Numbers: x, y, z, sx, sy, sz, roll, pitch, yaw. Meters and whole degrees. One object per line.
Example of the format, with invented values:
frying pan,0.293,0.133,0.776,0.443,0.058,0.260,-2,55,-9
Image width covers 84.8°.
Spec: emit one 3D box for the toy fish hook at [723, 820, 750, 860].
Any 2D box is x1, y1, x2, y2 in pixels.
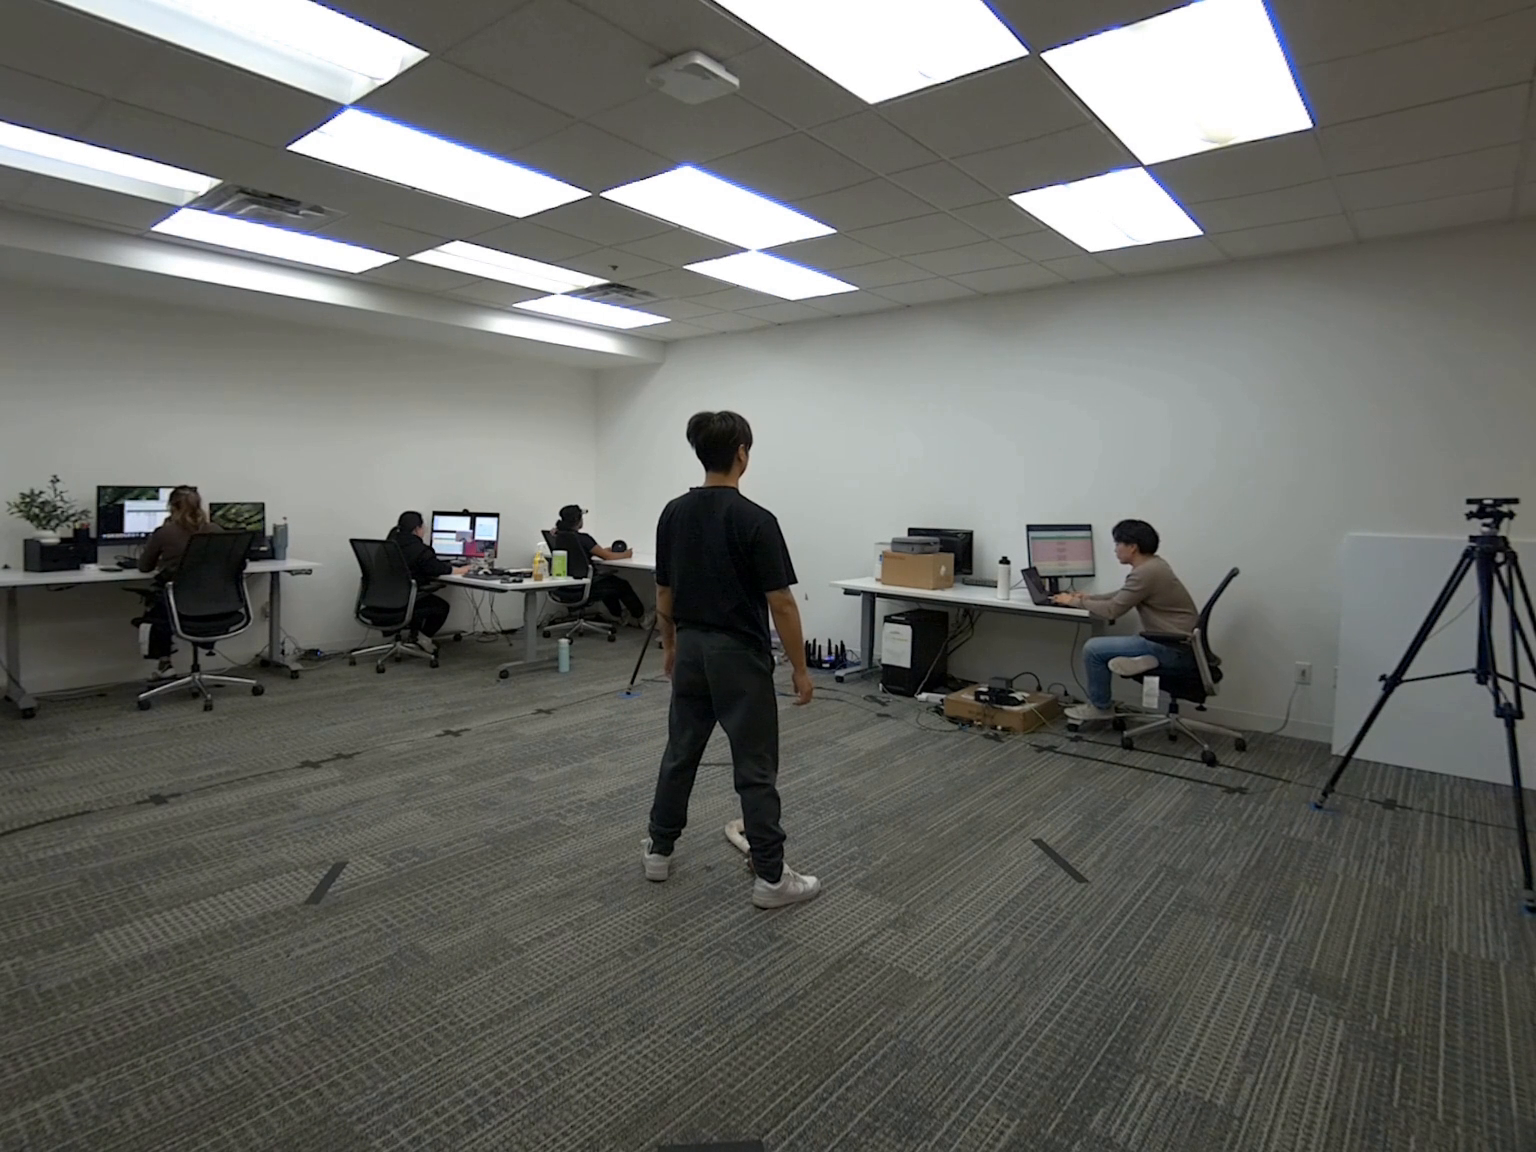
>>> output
toy fish hook,-0.034,1.025,3.259,0.222,0.048,0.514,-3,6,-12
